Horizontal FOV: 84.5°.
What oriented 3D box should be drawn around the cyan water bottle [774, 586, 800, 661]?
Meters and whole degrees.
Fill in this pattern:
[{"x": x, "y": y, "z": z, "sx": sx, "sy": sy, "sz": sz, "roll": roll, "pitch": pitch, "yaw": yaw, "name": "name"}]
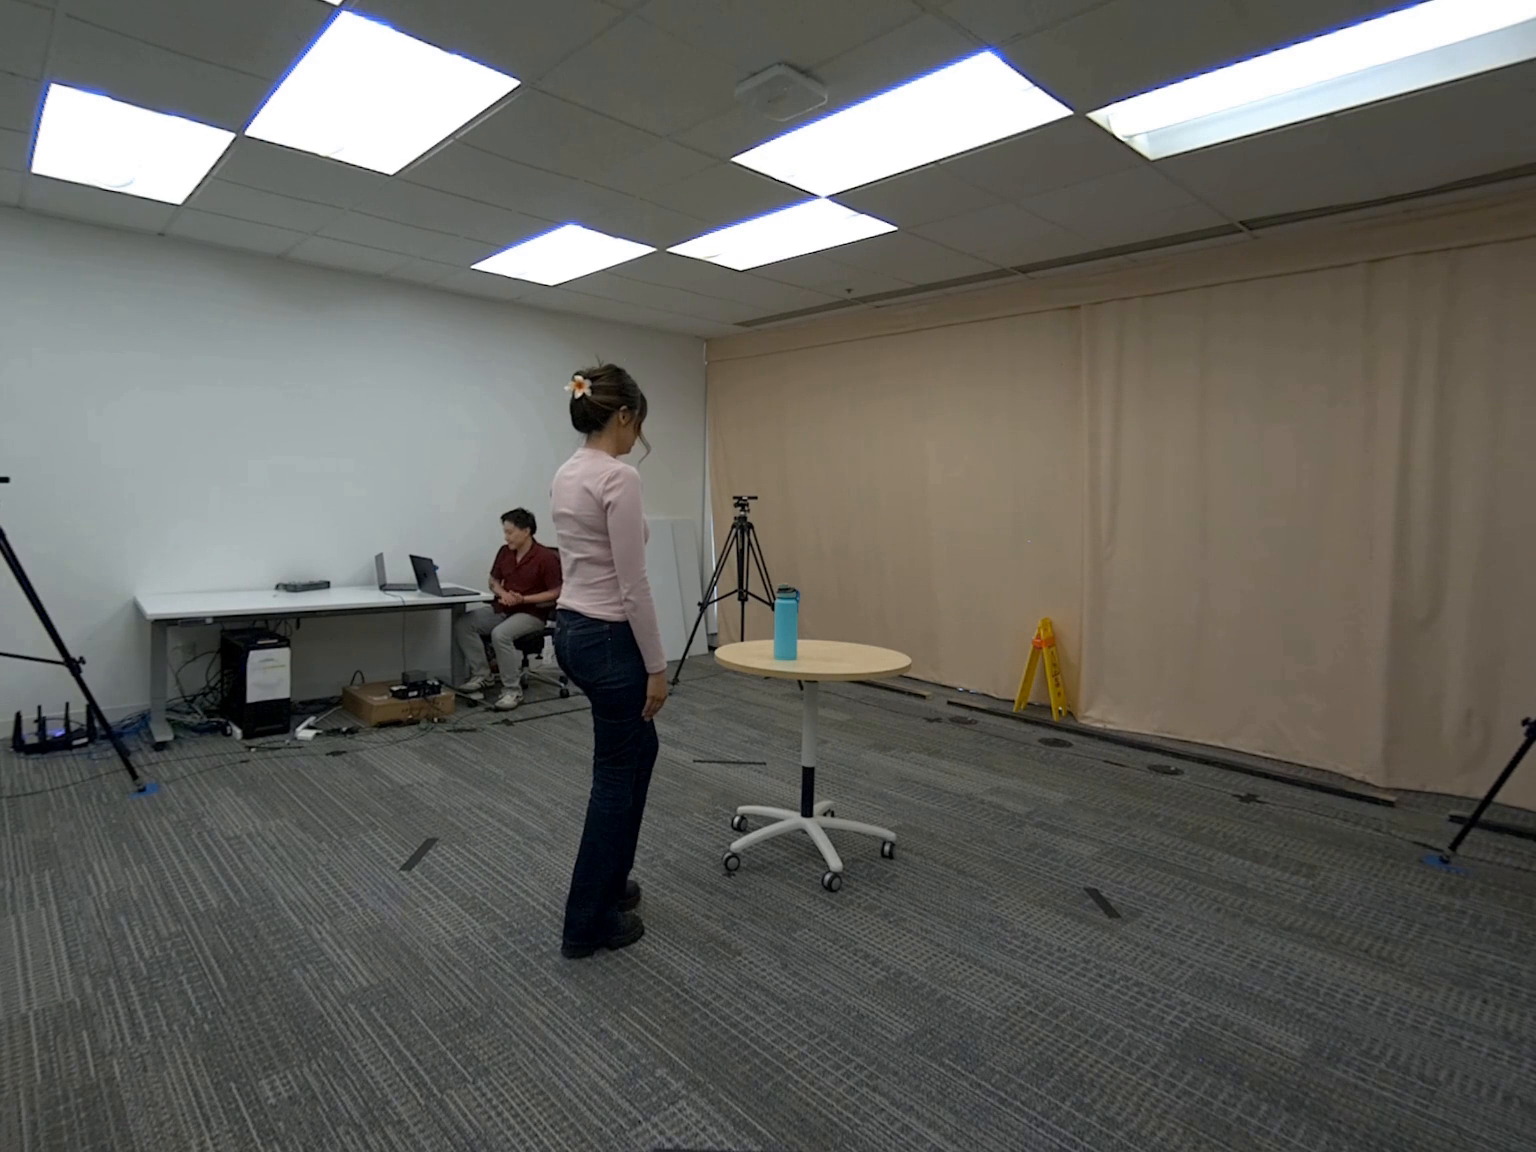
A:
[{"x": 0.069, "y": 0.175, "z": 3.205, "sx": 0.092, "sy": 0.283, "sz": 0.092, "roll": 2, "pitch": 1, "yaw": -1, "name": "cyan water bottle"}]
